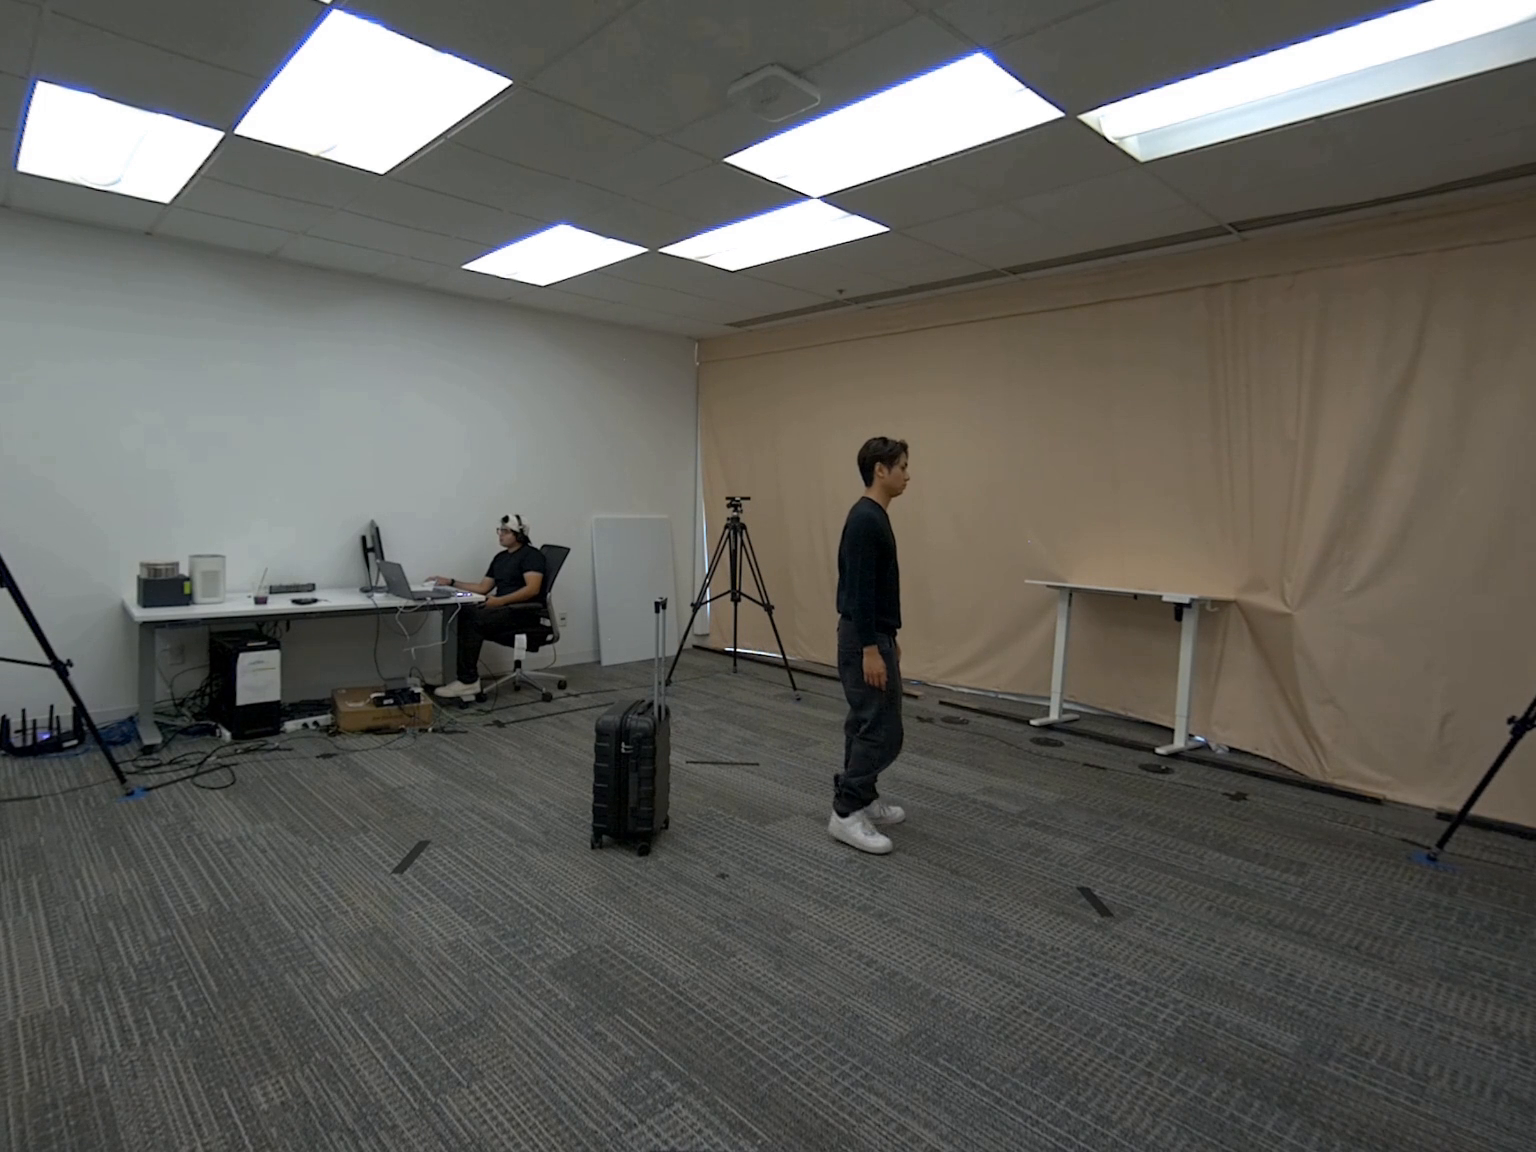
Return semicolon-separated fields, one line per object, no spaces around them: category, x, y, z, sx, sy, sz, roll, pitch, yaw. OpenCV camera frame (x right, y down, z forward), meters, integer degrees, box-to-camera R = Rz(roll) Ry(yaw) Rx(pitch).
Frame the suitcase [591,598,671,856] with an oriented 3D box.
suitcase;-0.555;0.590;3.416;0.258;0.977;0.382;1;2;6
